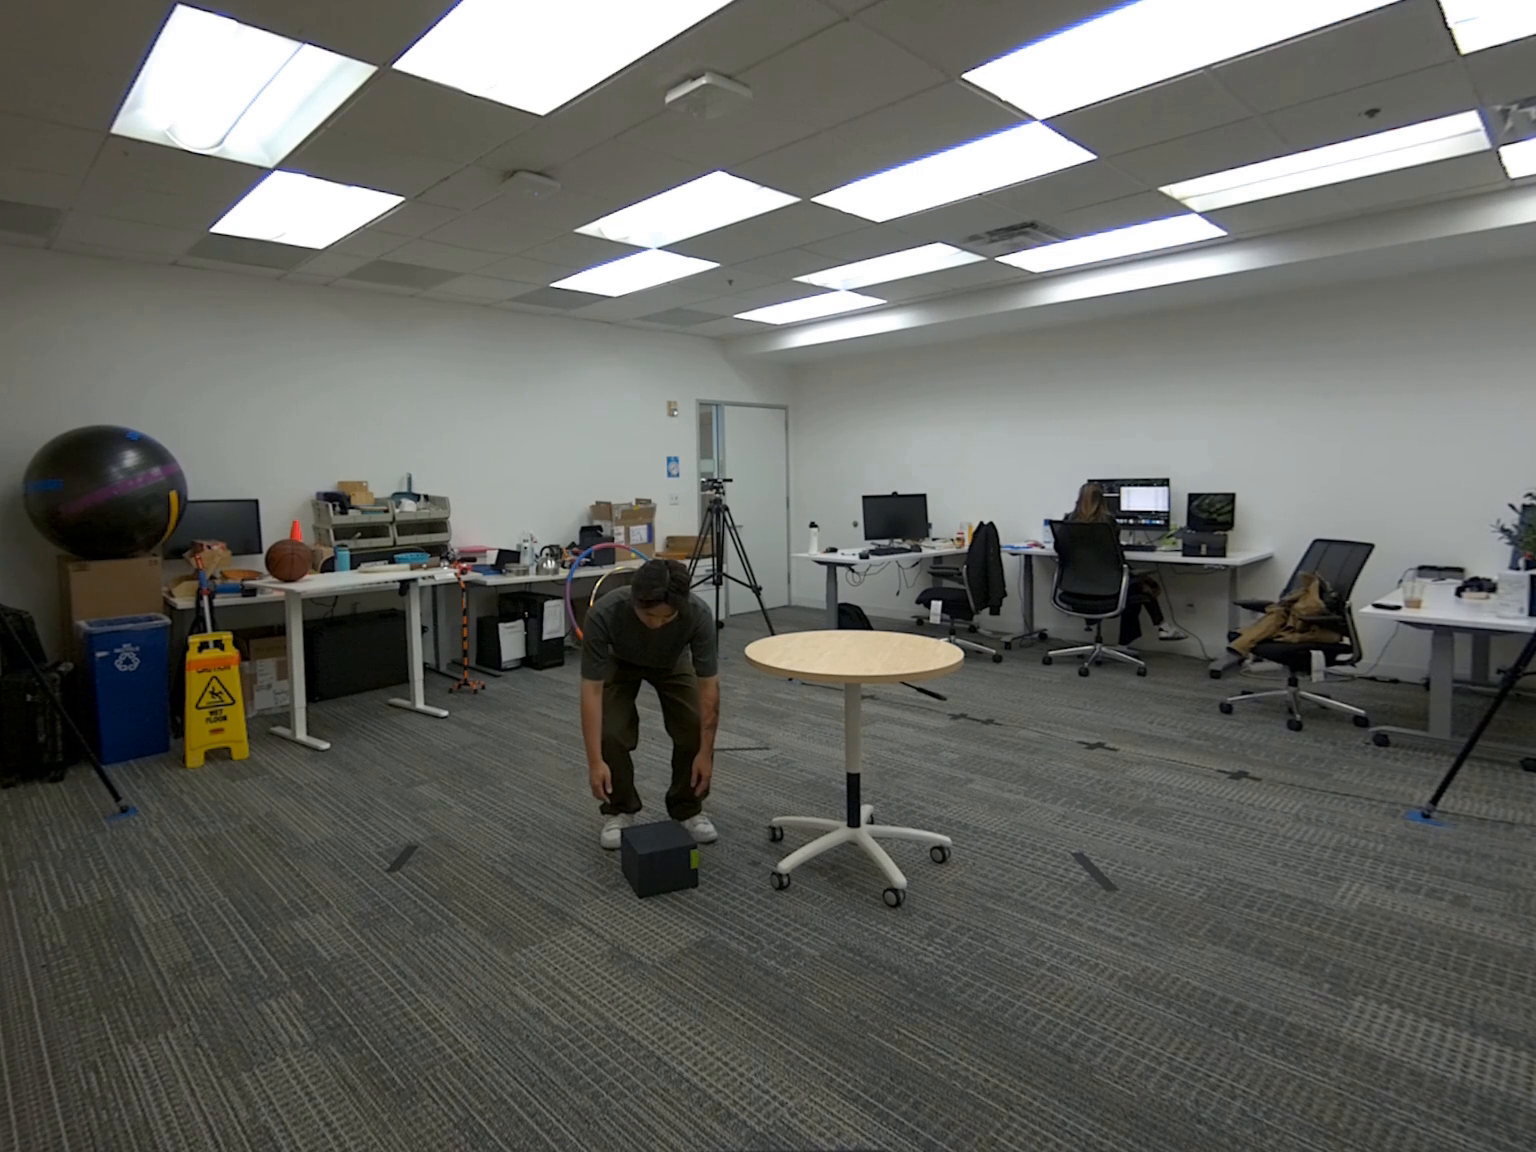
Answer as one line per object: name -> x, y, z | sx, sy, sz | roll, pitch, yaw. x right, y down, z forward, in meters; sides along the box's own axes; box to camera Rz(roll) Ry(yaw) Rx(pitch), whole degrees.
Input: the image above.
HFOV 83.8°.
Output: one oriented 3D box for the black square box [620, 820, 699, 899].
black square box -> -0.386, 0.980, 2.989 | 0.212, 0.155, 0.234 | -3, 6, -24
